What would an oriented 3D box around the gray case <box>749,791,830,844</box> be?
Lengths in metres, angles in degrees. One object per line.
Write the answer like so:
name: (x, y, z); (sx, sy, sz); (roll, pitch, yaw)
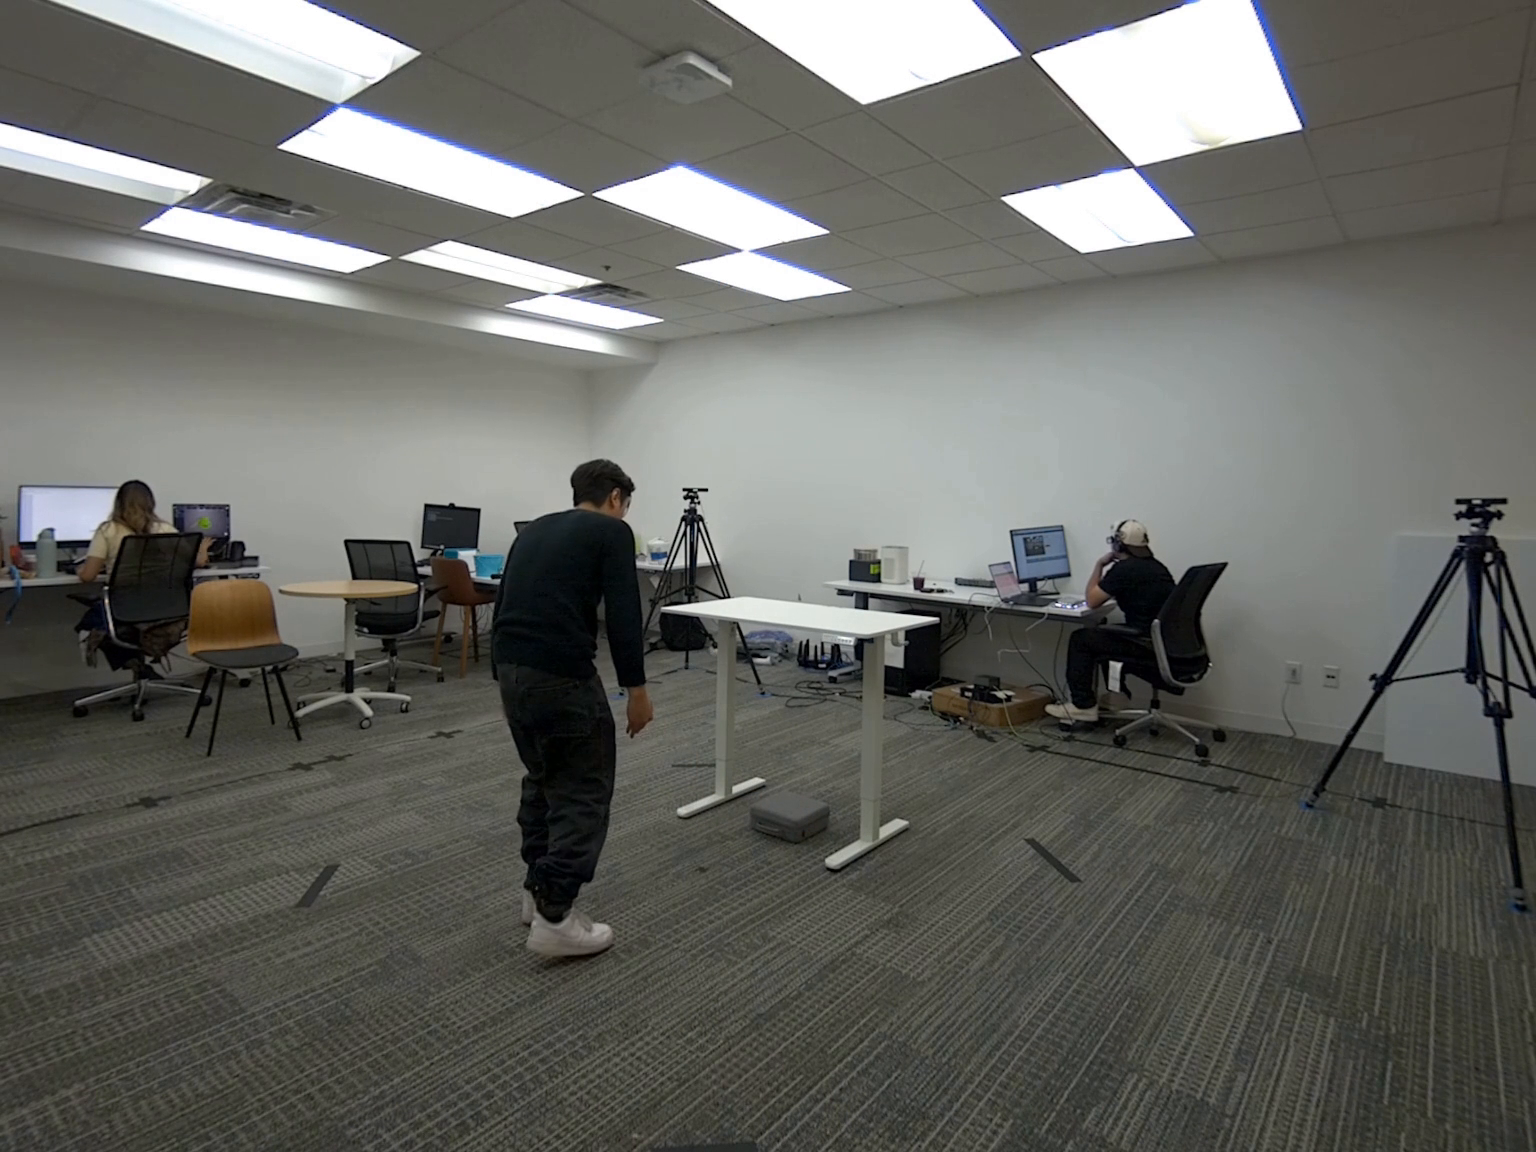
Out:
gray case: (0.083, 0.976, 3.501); (0.269, 0.104, 0.249); (5, 7, 38)
